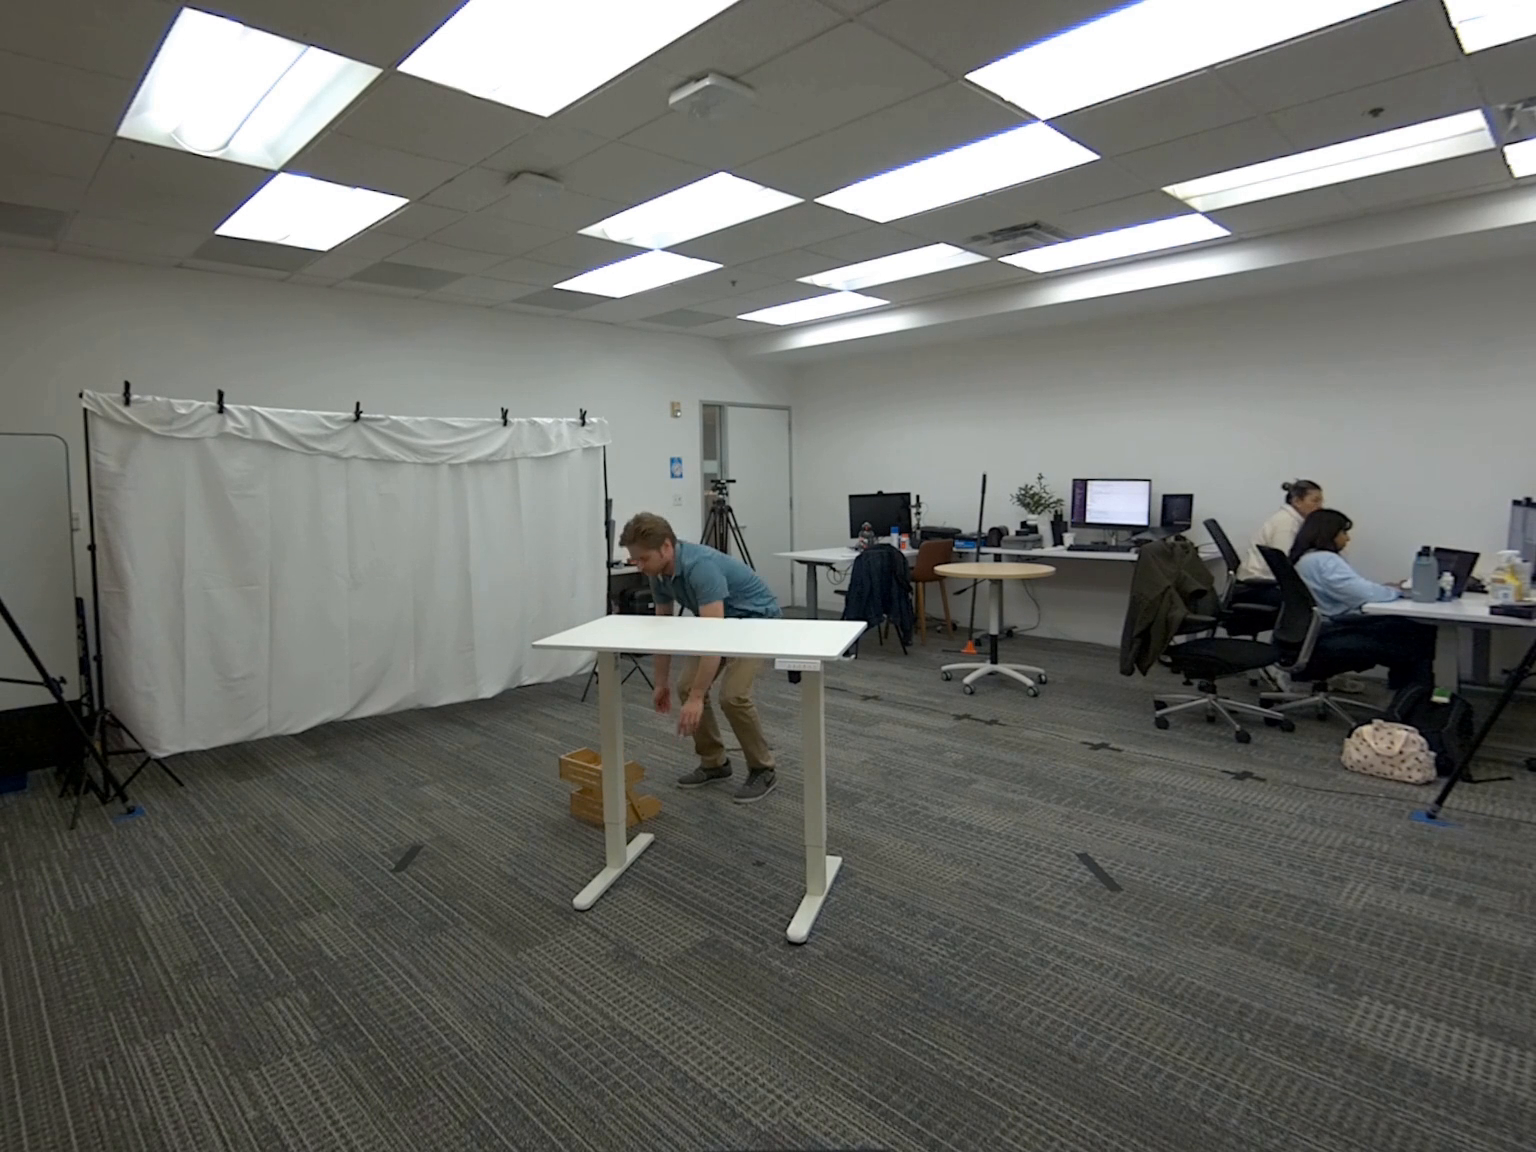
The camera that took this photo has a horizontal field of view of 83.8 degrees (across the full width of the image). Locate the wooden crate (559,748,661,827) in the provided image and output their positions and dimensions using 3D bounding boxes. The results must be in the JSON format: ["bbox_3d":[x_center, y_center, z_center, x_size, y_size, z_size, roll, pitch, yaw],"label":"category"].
[{"bbox_3d":[-0.661,0.872,3.591,0.334,0.272,0.294,3,7,39],"label":"wooden crate"}]
